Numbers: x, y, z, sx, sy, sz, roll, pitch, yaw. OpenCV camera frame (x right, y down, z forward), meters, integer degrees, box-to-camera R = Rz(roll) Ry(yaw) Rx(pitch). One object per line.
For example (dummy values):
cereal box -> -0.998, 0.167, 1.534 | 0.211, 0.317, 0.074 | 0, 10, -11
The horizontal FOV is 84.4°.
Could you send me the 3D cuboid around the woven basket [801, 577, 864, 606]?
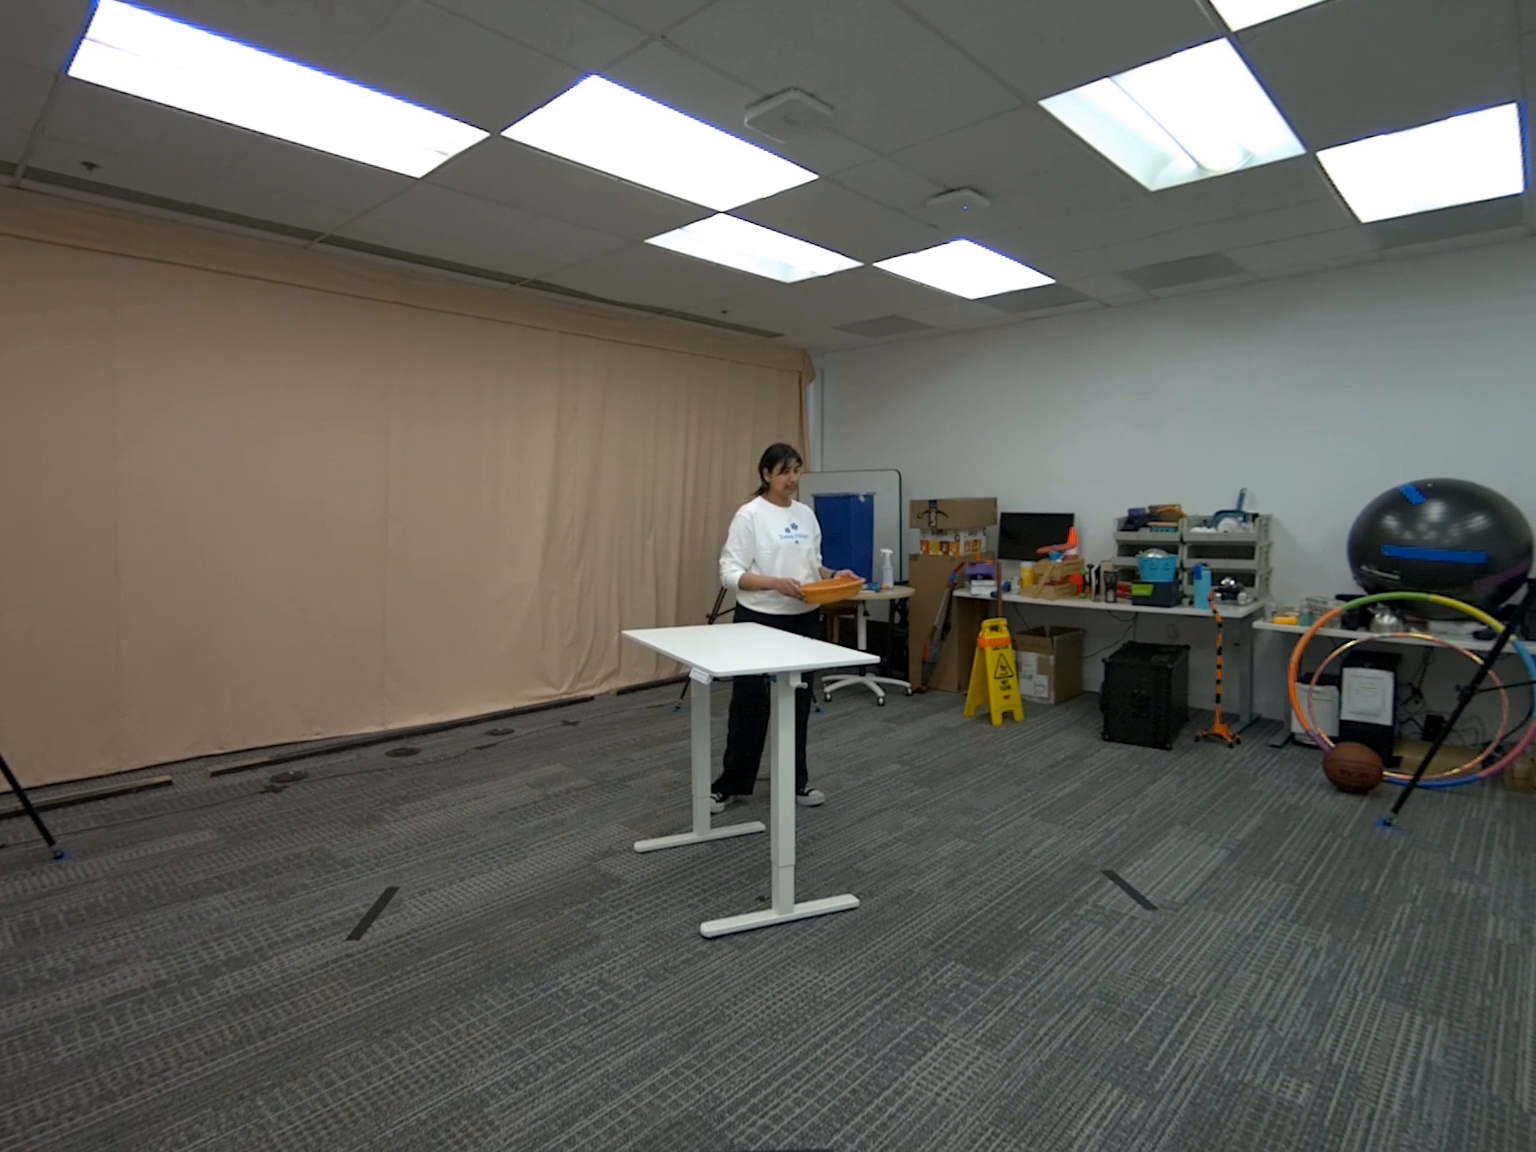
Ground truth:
woven basket -> 0.264, 0.066, 3.745 | 0.341, 0.073, 0.261 | -12, 10, -40
